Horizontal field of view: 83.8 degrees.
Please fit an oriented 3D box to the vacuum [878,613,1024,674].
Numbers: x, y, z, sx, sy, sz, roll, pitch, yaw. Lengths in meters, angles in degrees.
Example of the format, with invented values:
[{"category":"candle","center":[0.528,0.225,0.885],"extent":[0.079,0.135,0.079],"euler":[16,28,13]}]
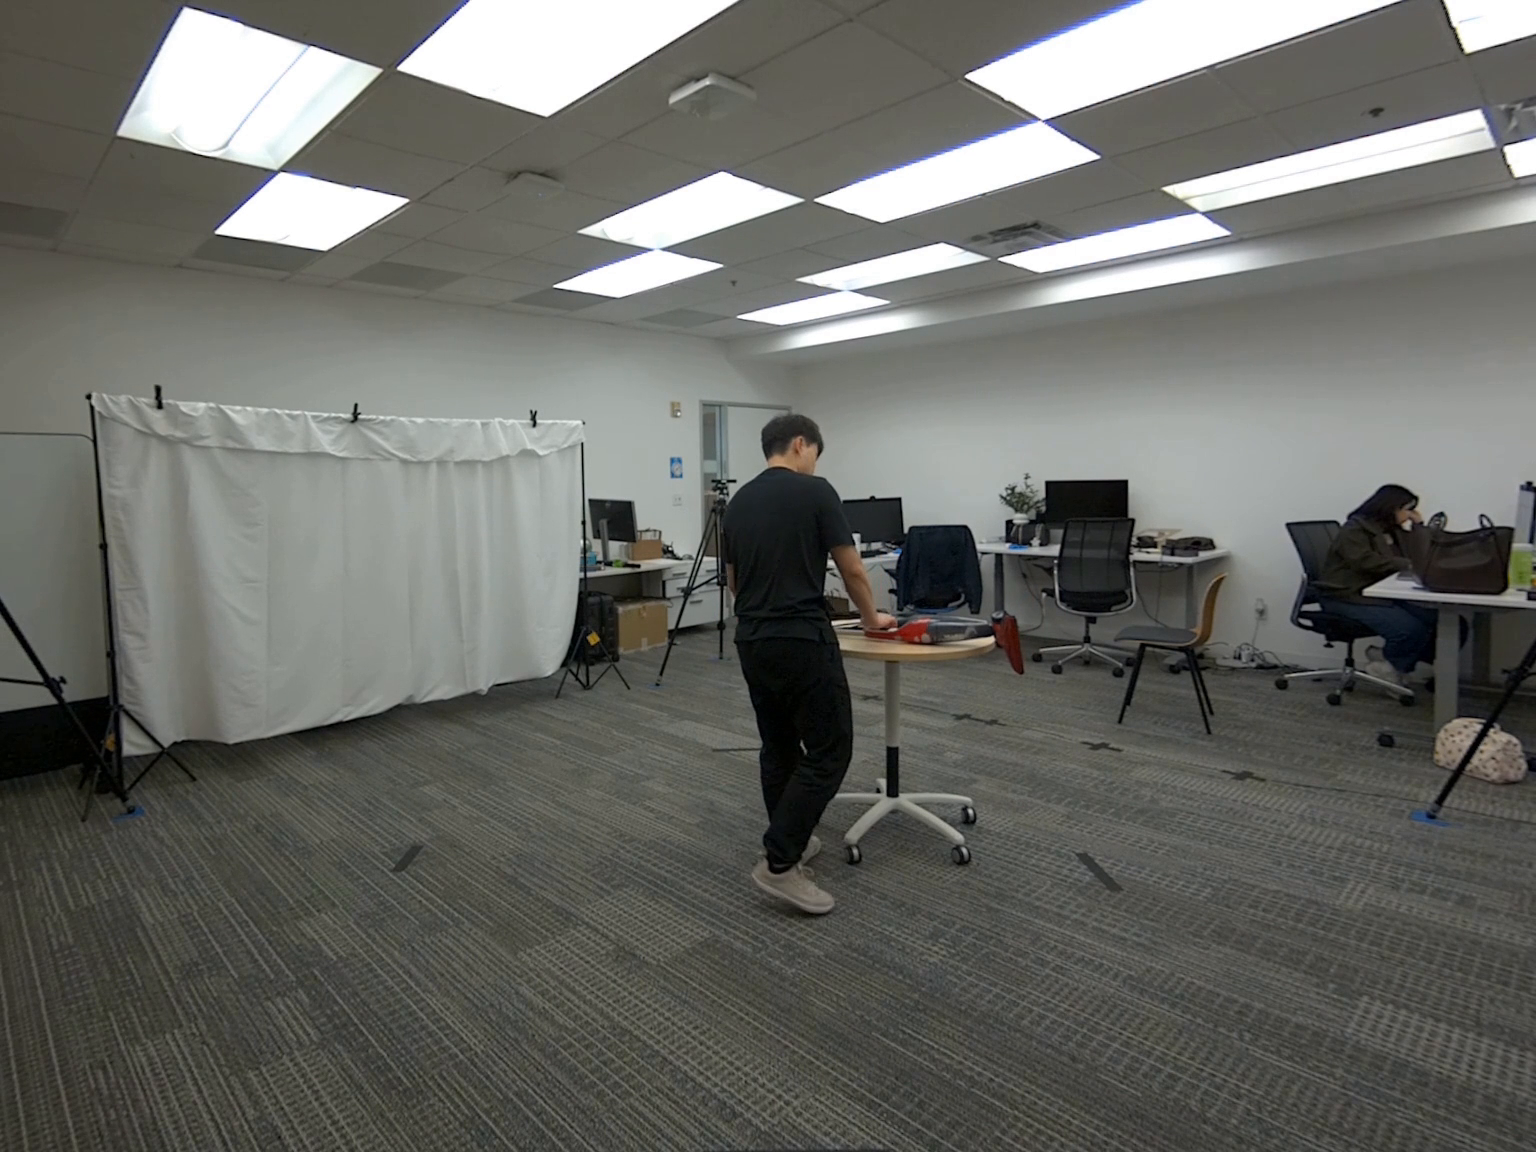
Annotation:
[{"category":"vacuum","center":[0.392,0.207,3.241],"extent":[1.076,0.245,0.144],"euler":[1,34,30]}]
